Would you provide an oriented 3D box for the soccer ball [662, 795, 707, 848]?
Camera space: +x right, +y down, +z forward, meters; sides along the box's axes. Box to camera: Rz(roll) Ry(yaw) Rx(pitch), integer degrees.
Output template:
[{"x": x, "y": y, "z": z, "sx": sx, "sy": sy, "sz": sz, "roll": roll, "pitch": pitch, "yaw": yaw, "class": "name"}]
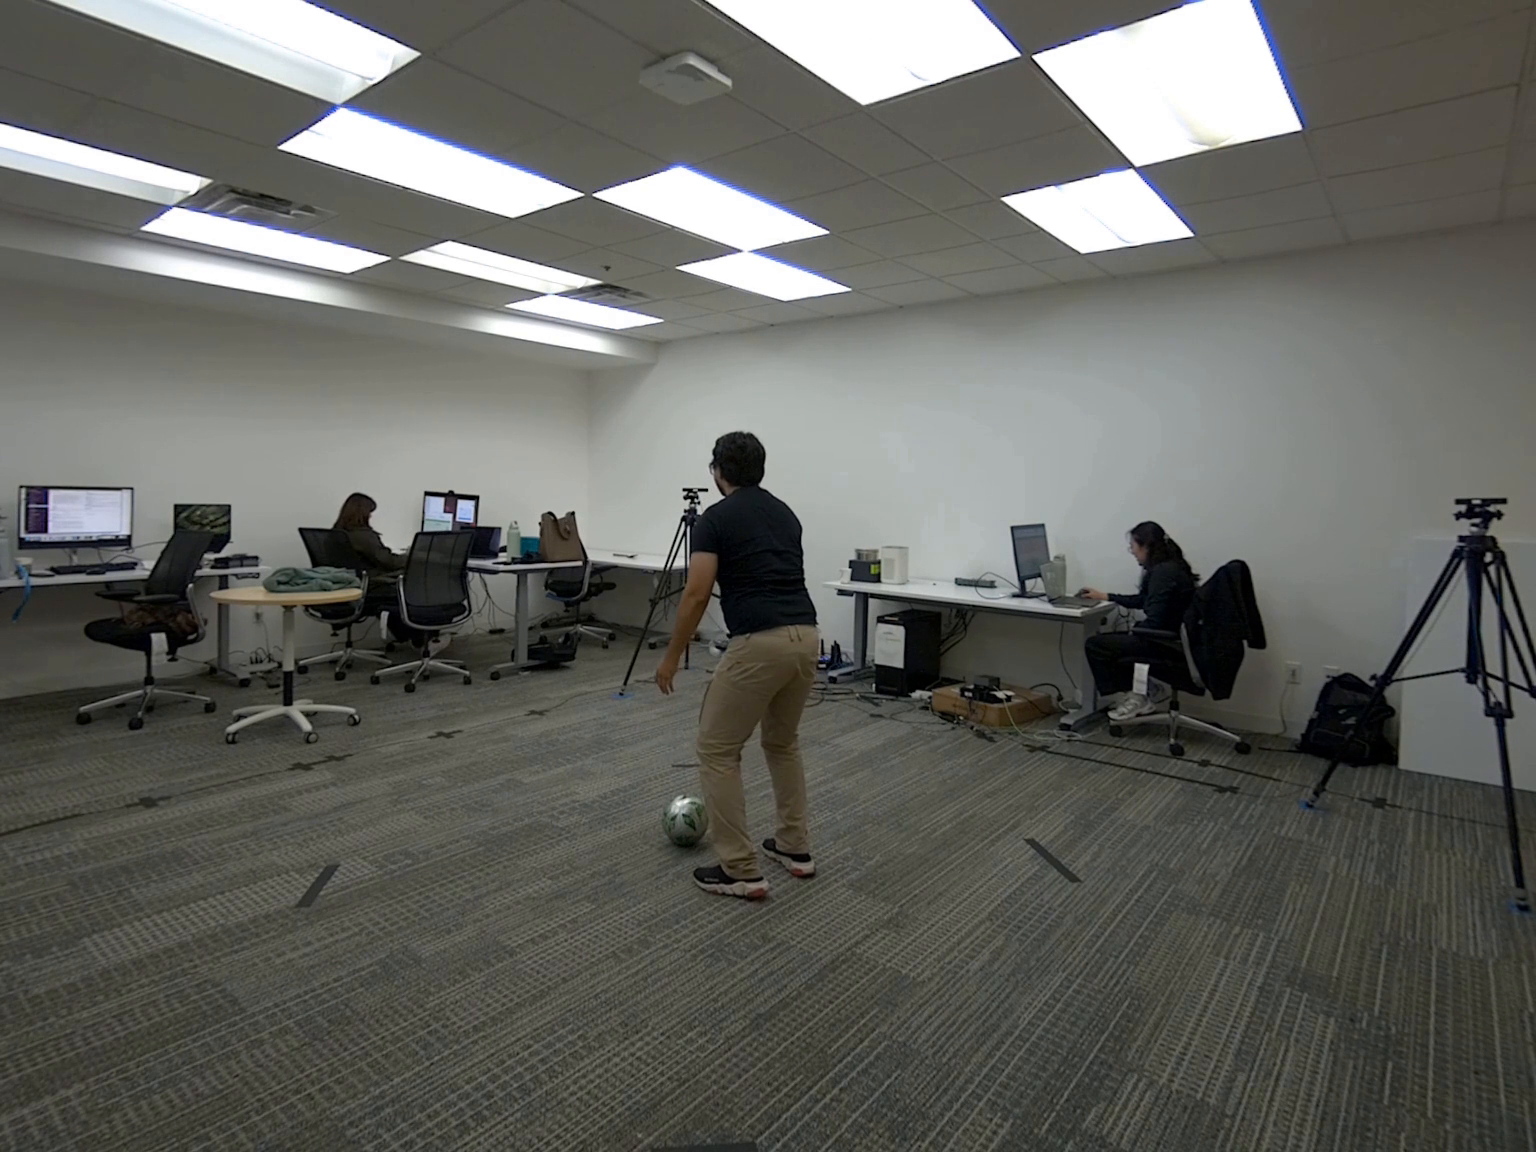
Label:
[{"x": -0.333, "y": 0.952, "z": 3.334, "sx": 0.187, "sy": 0.187, "sz": 0.188, "roll": 1, "pitch": 4, "yaw": -2, "class": "soccer ball"}]
